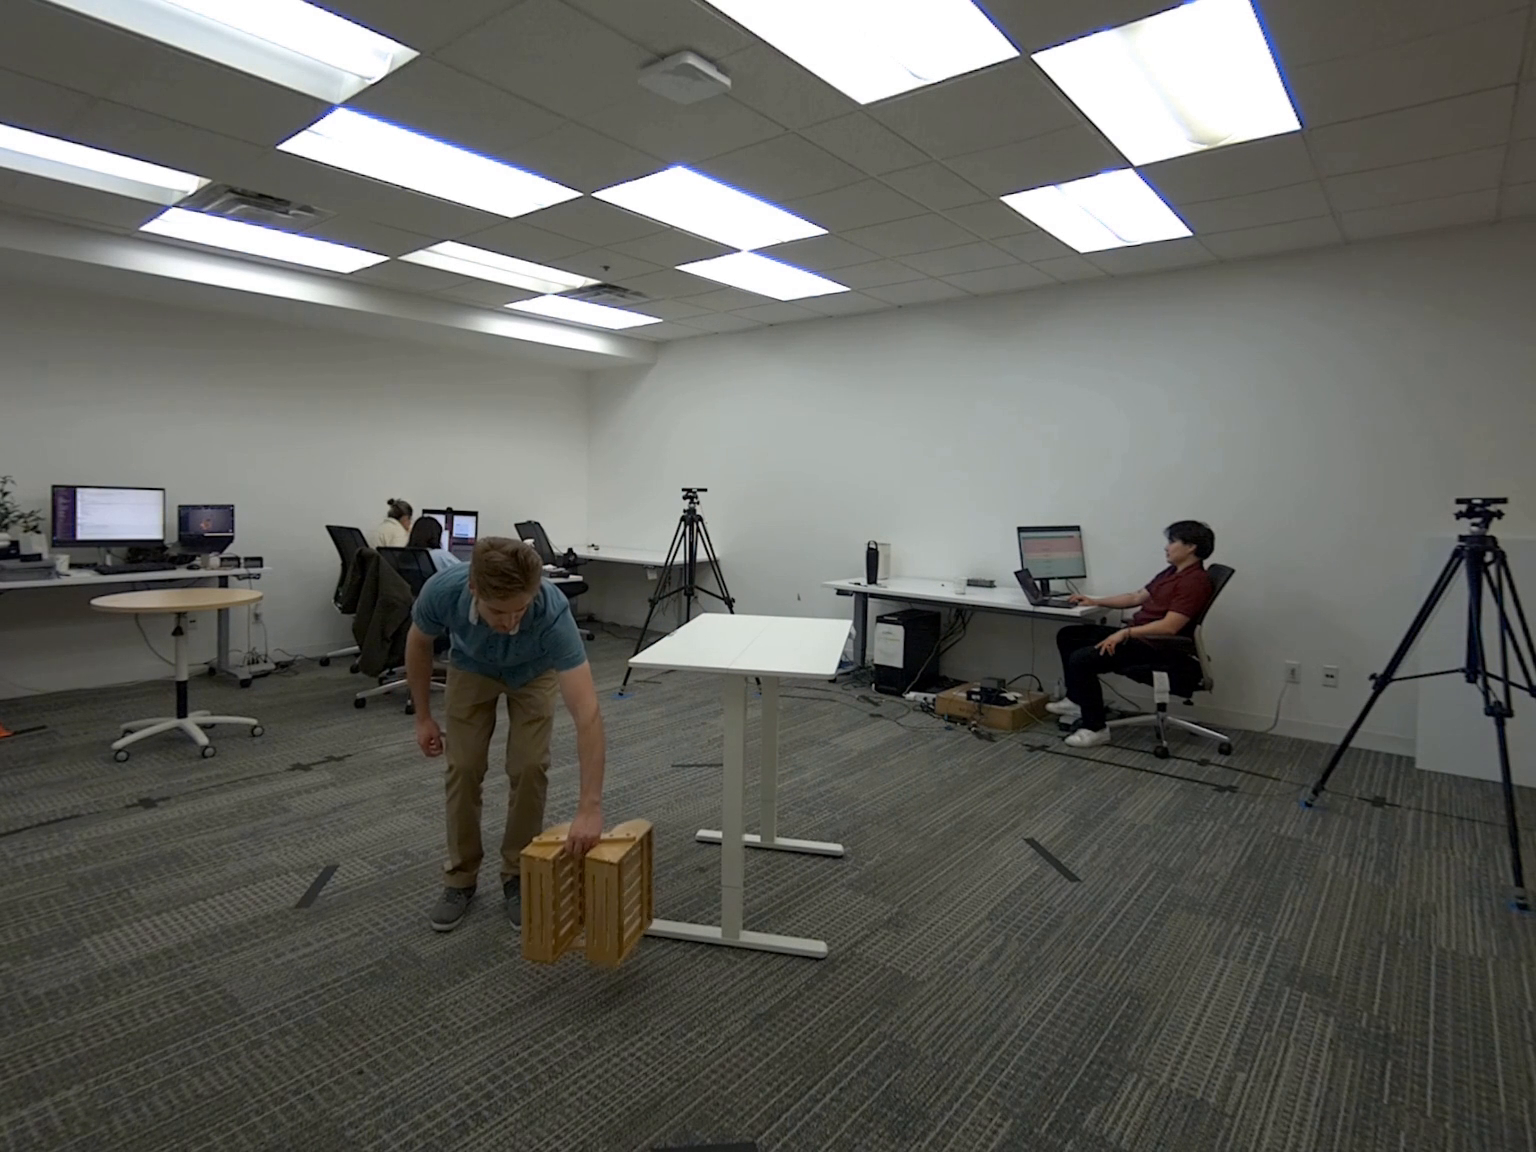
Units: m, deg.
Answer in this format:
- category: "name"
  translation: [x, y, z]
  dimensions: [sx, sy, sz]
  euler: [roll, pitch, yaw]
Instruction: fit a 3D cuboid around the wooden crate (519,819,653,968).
- category: "wooden crate"
  translation: [-0.511, 0.868, 2.362]
  dimensions: [0.279, 0.322, 0.298]
  euler: [4, 9, 18]
